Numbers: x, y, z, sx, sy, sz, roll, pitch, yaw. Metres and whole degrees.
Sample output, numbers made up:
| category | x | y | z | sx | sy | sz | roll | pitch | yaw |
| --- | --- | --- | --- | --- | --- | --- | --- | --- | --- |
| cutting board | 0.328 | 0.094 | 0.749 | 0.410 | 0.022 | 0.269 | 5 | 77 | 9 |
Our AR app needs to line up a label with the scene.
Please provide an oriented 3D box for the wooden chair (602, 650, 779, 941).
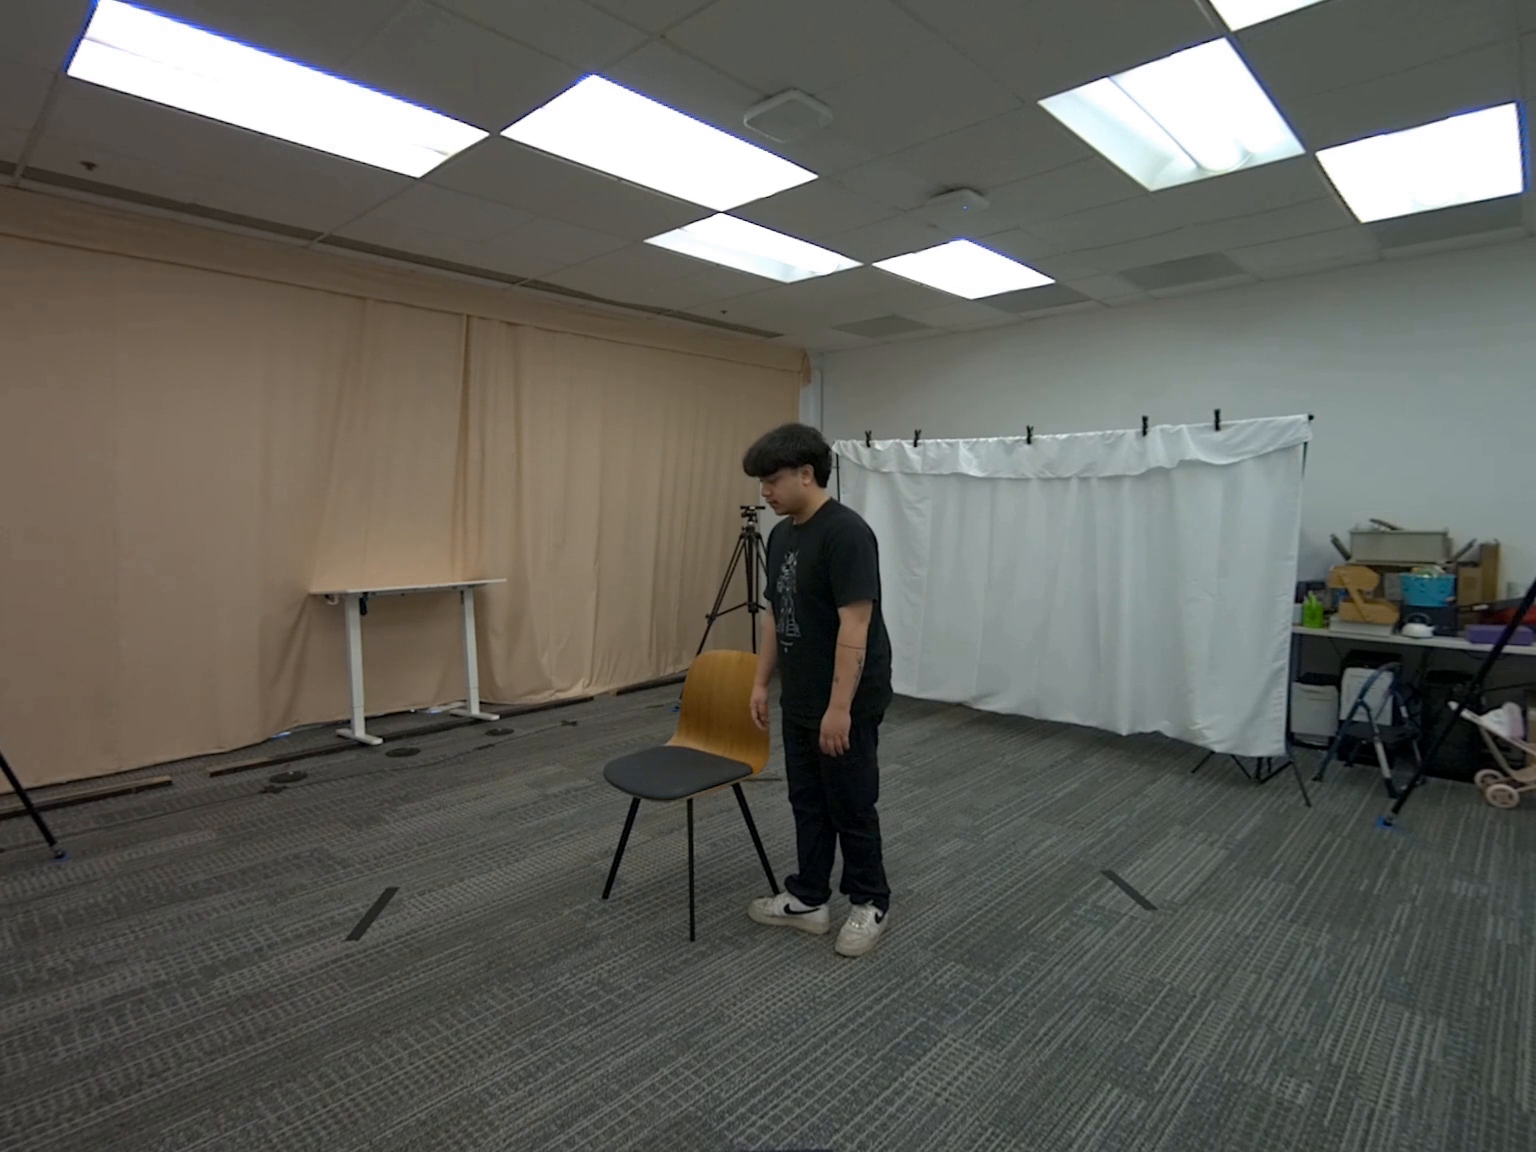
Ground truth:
| category | x | y | z | sx | sy | sz | roll | pitch | yaw |
| --- | --- | --- | --- | --- | --- | --- | --- | --- | --- |
| wooden chair | -0.277 | 0.718 | 2.974 | 0.494 | 0.877 | 0.506 | 3 | 1 | 41 |
